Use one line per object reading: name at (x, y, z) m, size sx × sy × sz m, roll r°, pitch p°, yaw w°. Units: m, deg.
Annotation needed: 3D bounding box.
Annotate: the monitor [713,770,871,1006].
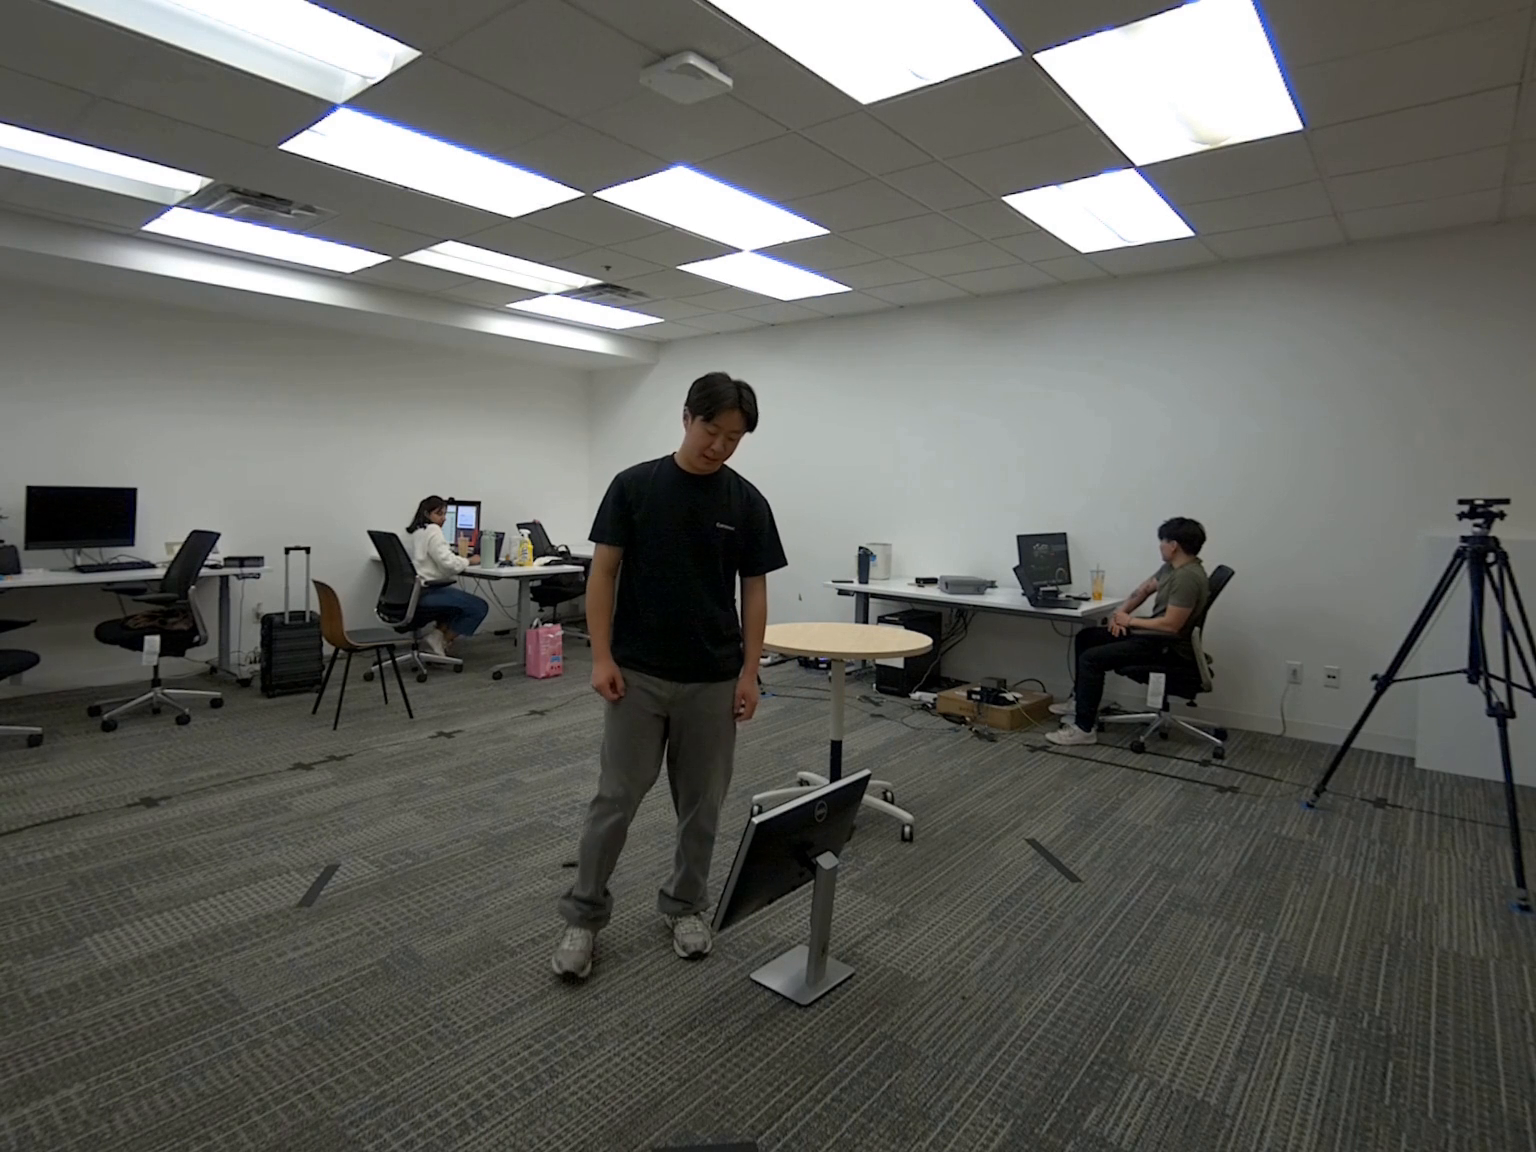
monitor at (0.091, 0.881, 2.415) m, size 0.230 × 0.564 × 0.545 m, roll 4°, pitch 5°, yaw 43°
